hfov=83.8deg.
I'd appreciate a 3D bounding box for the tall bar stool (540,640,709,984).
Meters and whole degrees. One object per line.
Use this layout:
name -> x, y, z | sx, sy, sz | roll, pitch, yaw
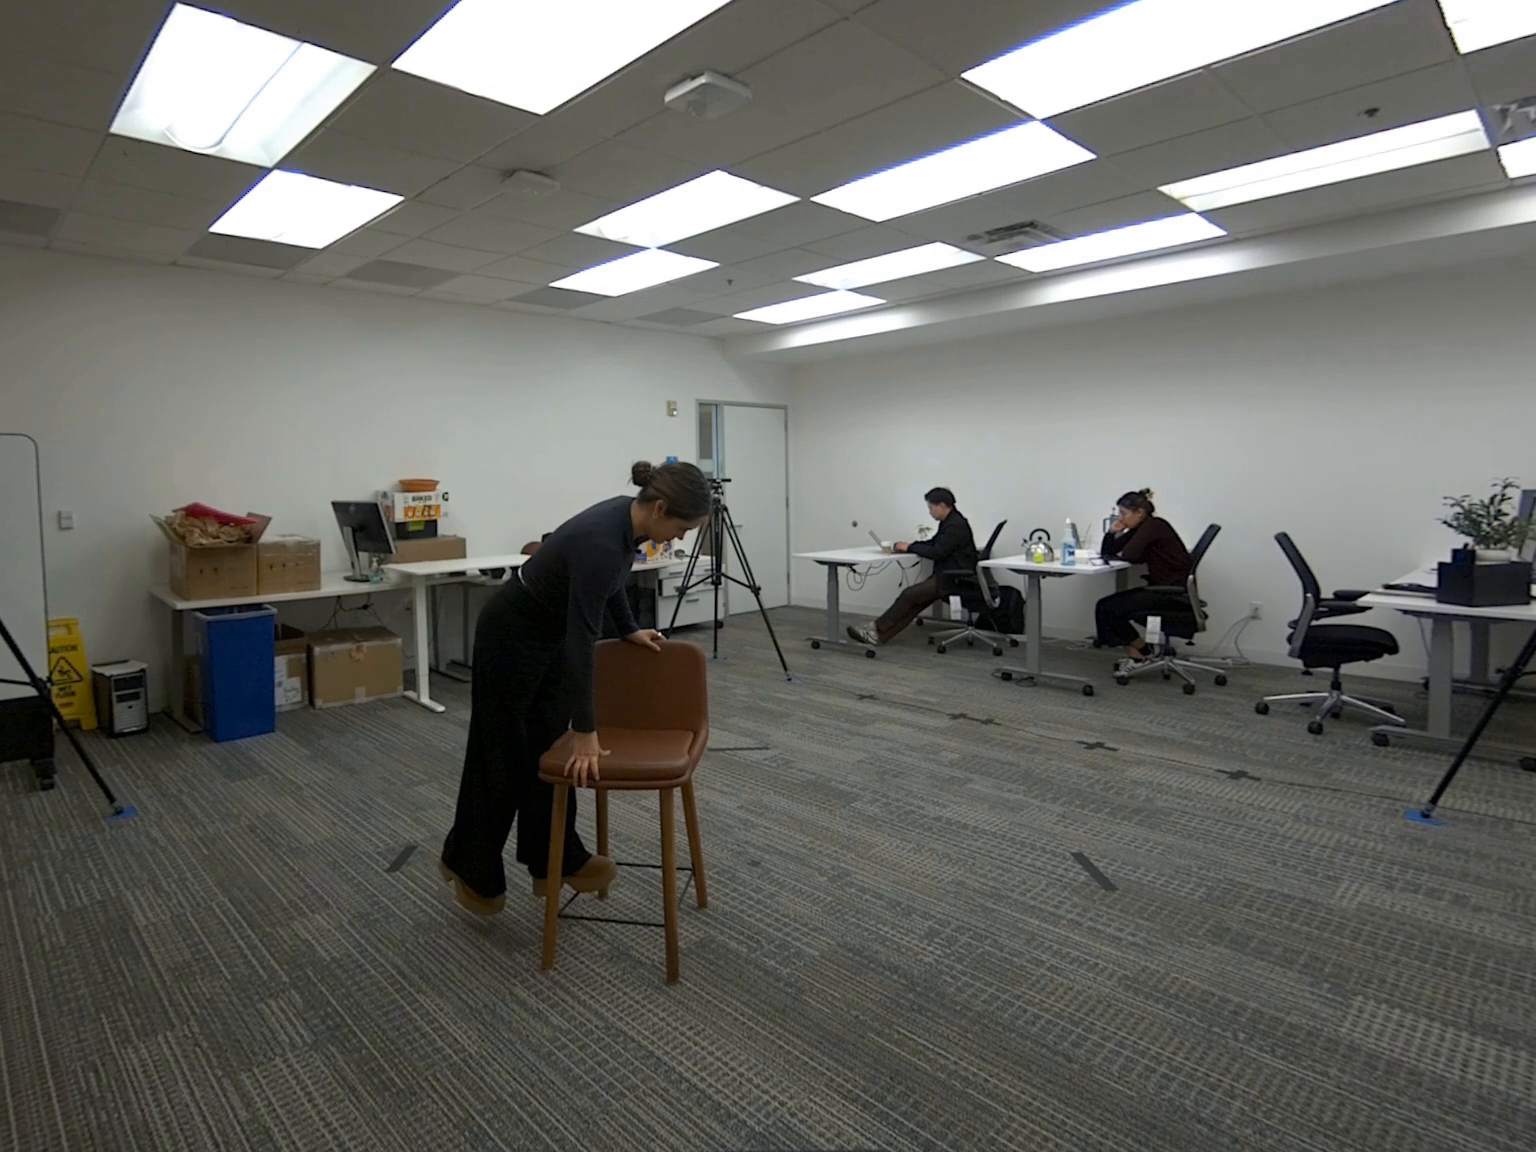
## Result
tall bar stool -> -0.420, 0.671, 2.609 | 0.462, 0.888, 0.463 | 0, 3, 11
